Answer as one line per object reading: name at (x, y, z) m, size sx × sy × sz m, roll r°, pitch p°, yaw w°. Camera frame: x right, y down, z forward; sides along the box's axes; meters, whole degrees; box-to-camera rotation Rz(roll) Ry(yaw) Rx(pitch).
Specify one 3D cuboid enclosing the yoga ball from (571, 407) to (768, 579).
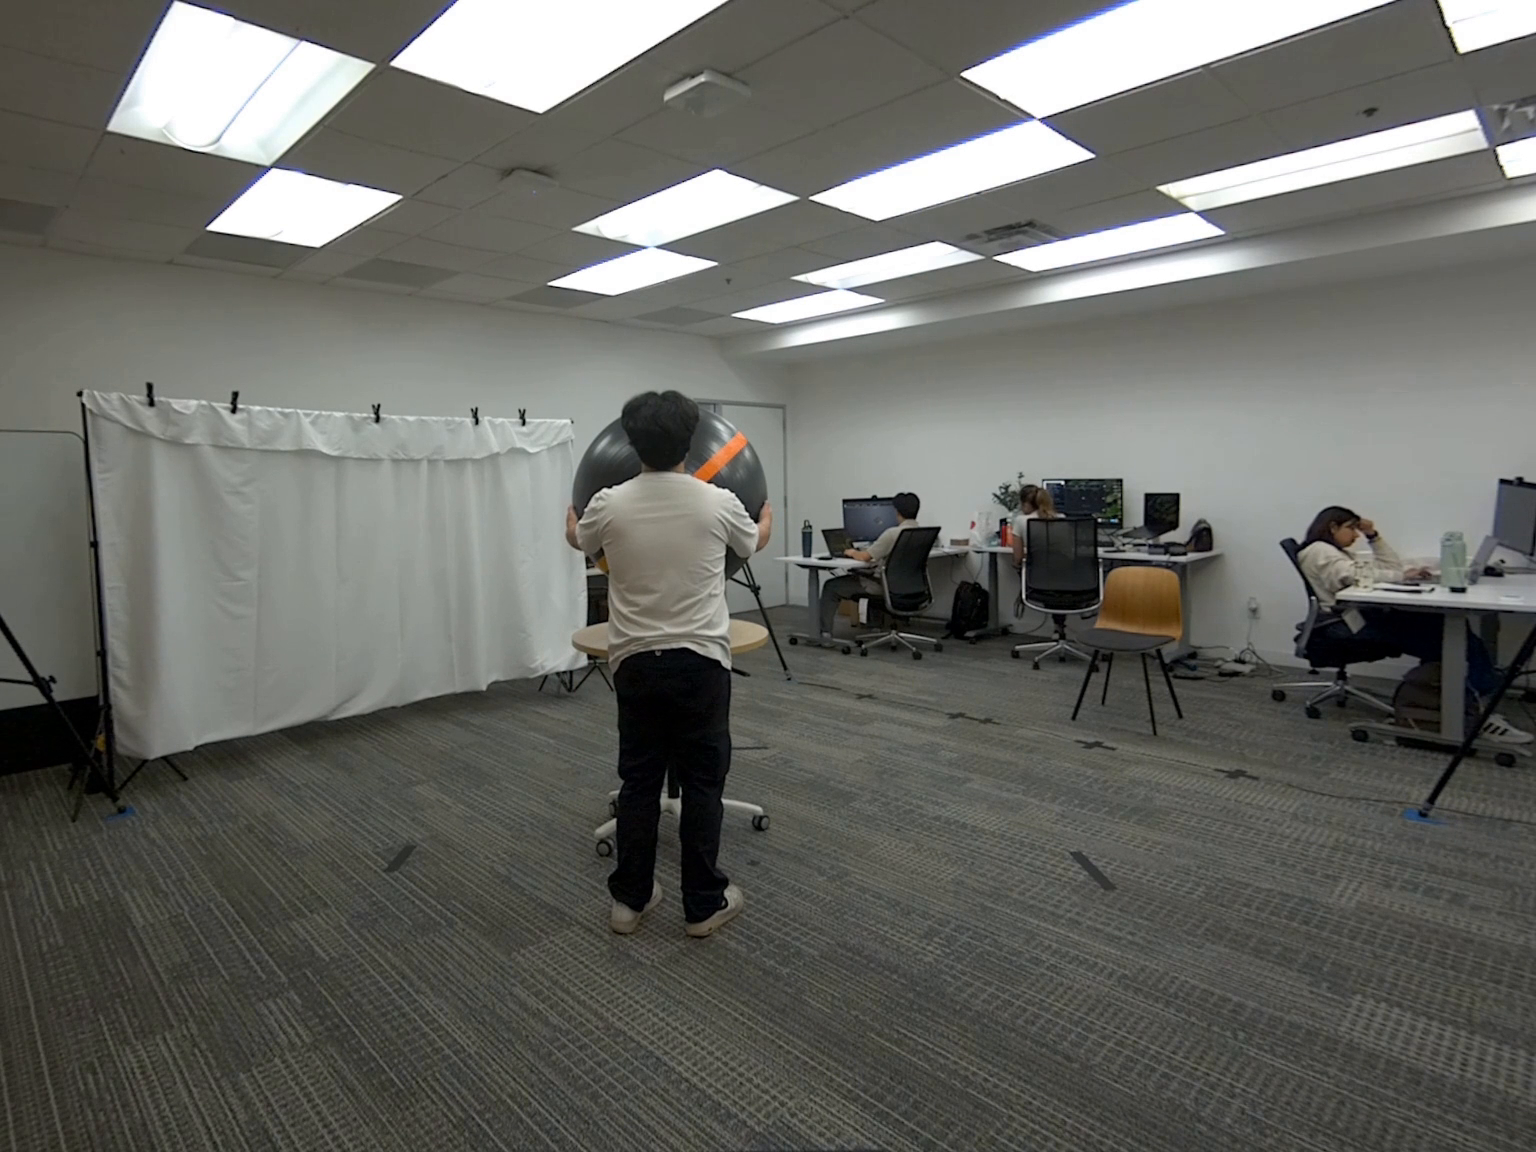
yoga ball at (-0.380, -0.288, 3.331) m, size 0.757 × 0.755 × 0.762 m, roll -1°, pitch 5°, yaw -2°
